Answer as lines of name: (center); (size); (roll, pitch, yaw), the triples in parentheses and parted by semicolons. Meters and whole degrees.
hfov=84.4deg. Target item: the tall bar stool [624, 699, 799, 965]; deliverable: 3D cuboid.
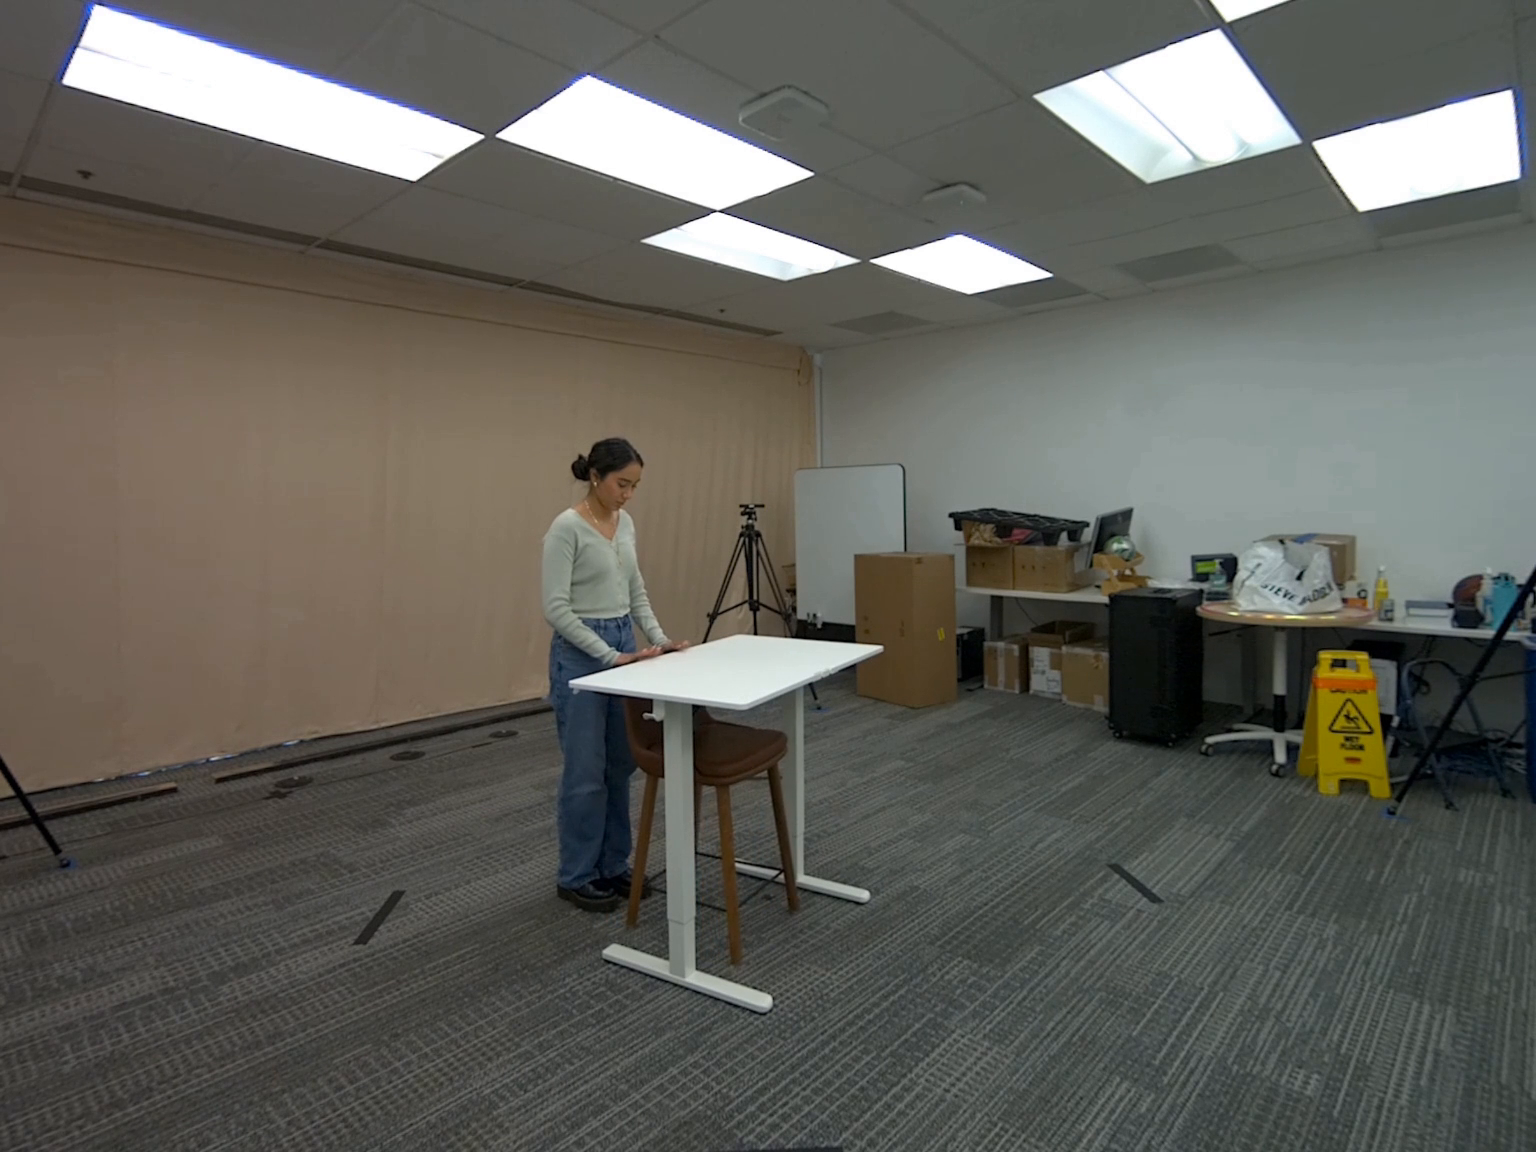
tall bar stool: (-0.206, 0.729, 2.812); (0.481, 0.888, 0.444); (-2, 3, 31)
